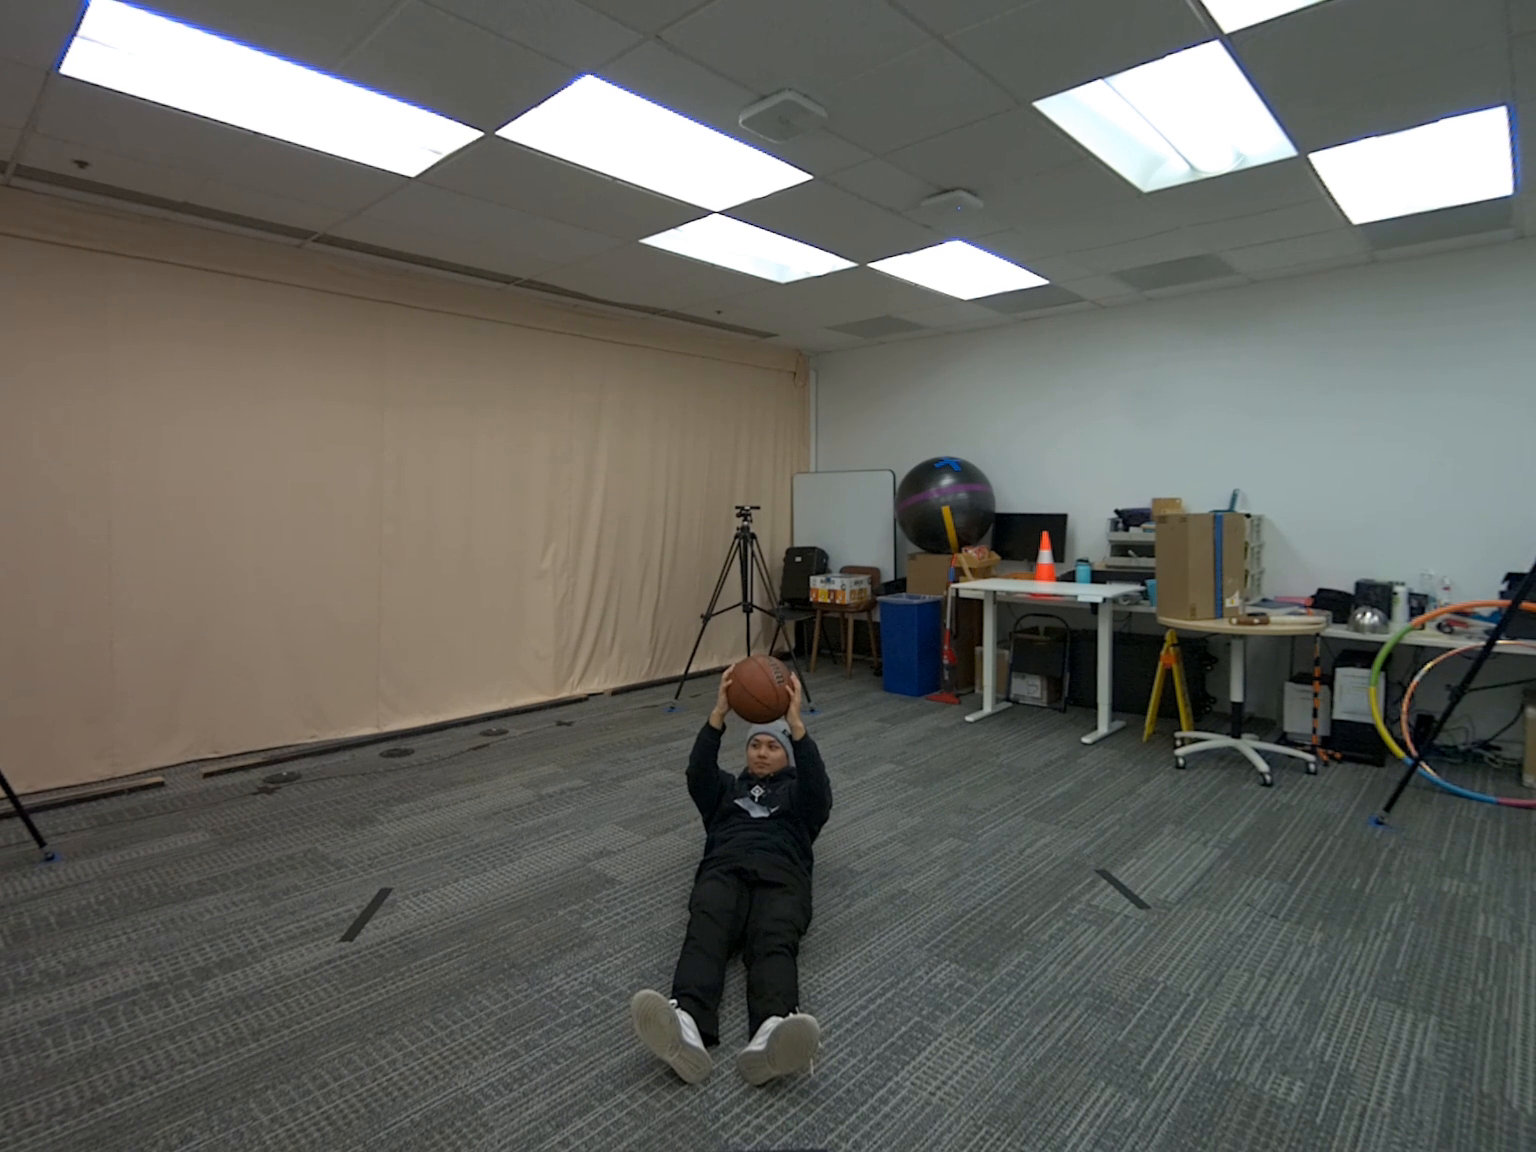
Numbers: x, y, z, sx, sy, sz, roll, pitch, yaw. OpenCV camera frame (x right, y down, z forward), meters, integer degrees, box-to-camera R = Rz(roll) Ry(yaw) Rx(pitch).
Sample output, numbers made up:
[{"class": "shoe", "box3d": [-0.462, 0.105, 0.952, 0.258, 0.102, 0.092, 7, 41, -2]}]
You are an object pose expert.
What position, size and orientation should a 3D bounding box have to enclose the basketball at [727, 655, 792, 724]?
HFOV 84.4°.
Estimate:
[{"class": "basketball", "box3d": [-0.027, 0.396, 2.933, 0.236, 0.235, 0.237, 0, 4, -2]}]
